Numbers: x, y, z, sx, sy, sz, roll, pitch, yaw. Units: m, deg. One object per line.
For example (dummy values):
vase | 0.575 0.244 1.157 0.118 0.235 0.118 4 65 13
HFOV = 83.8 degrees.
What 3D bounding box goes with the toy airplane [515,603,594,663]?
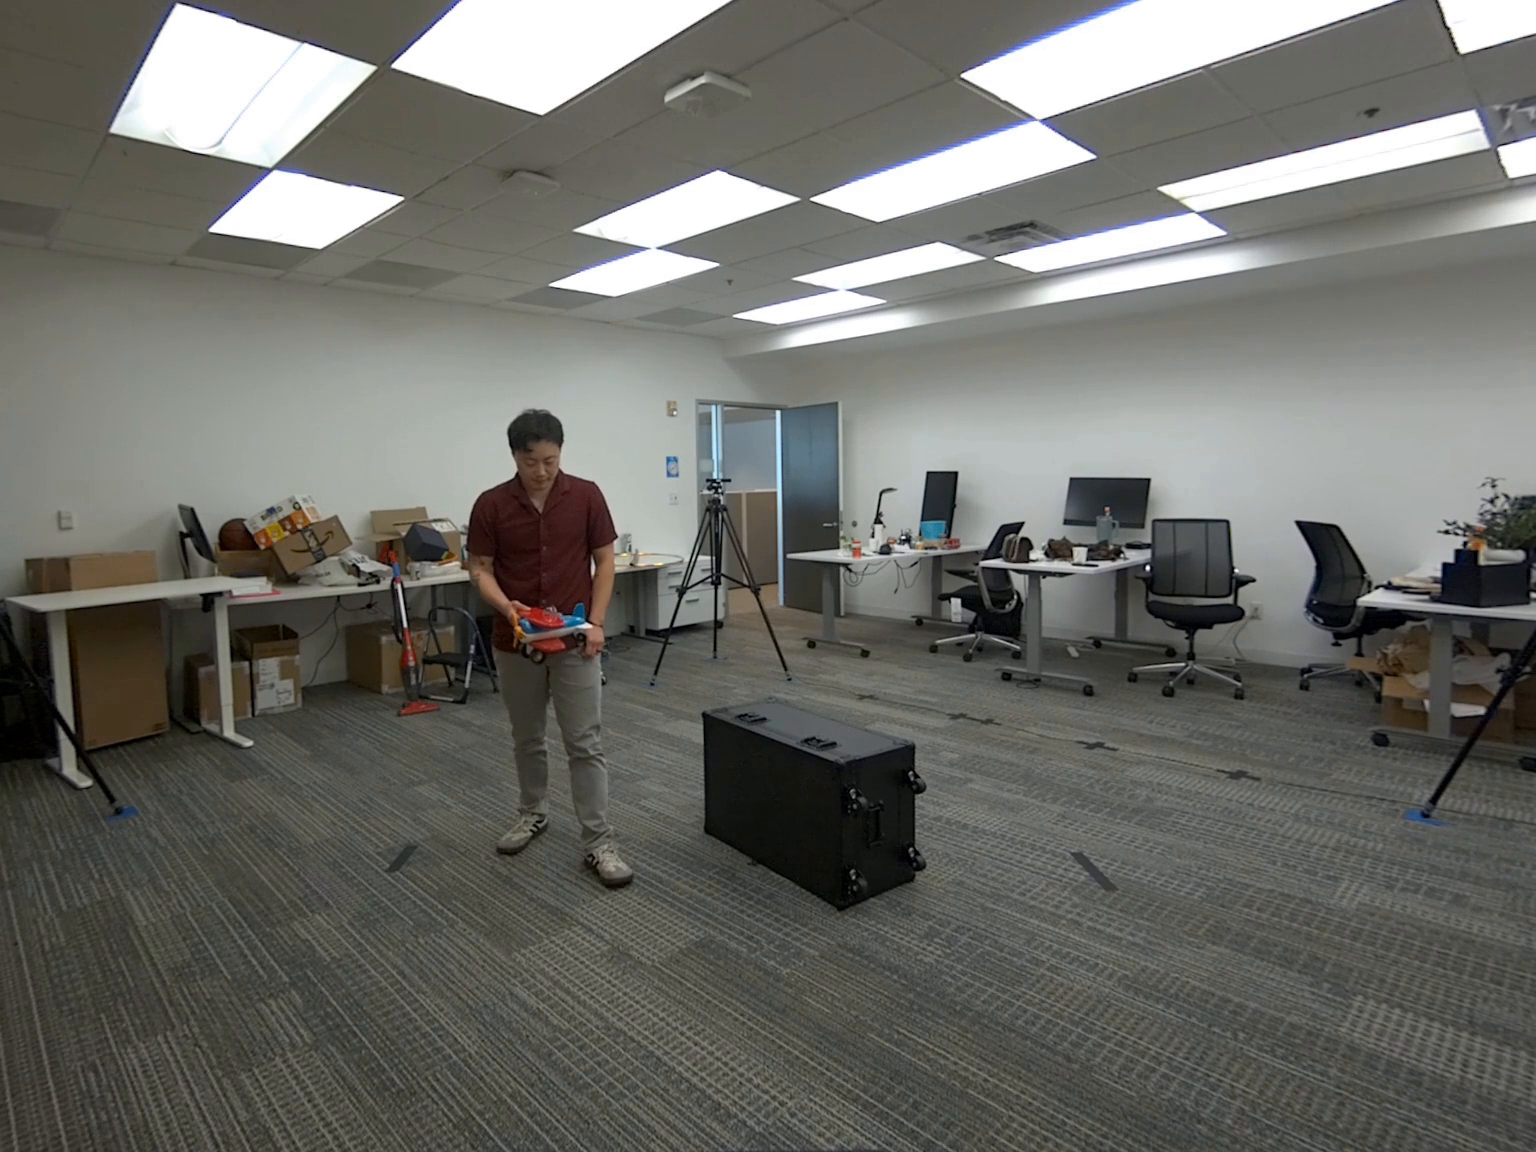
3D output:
toy airplane | -0.742 0.179 2.900 0.257 0.153 0.258 -1 21 27
